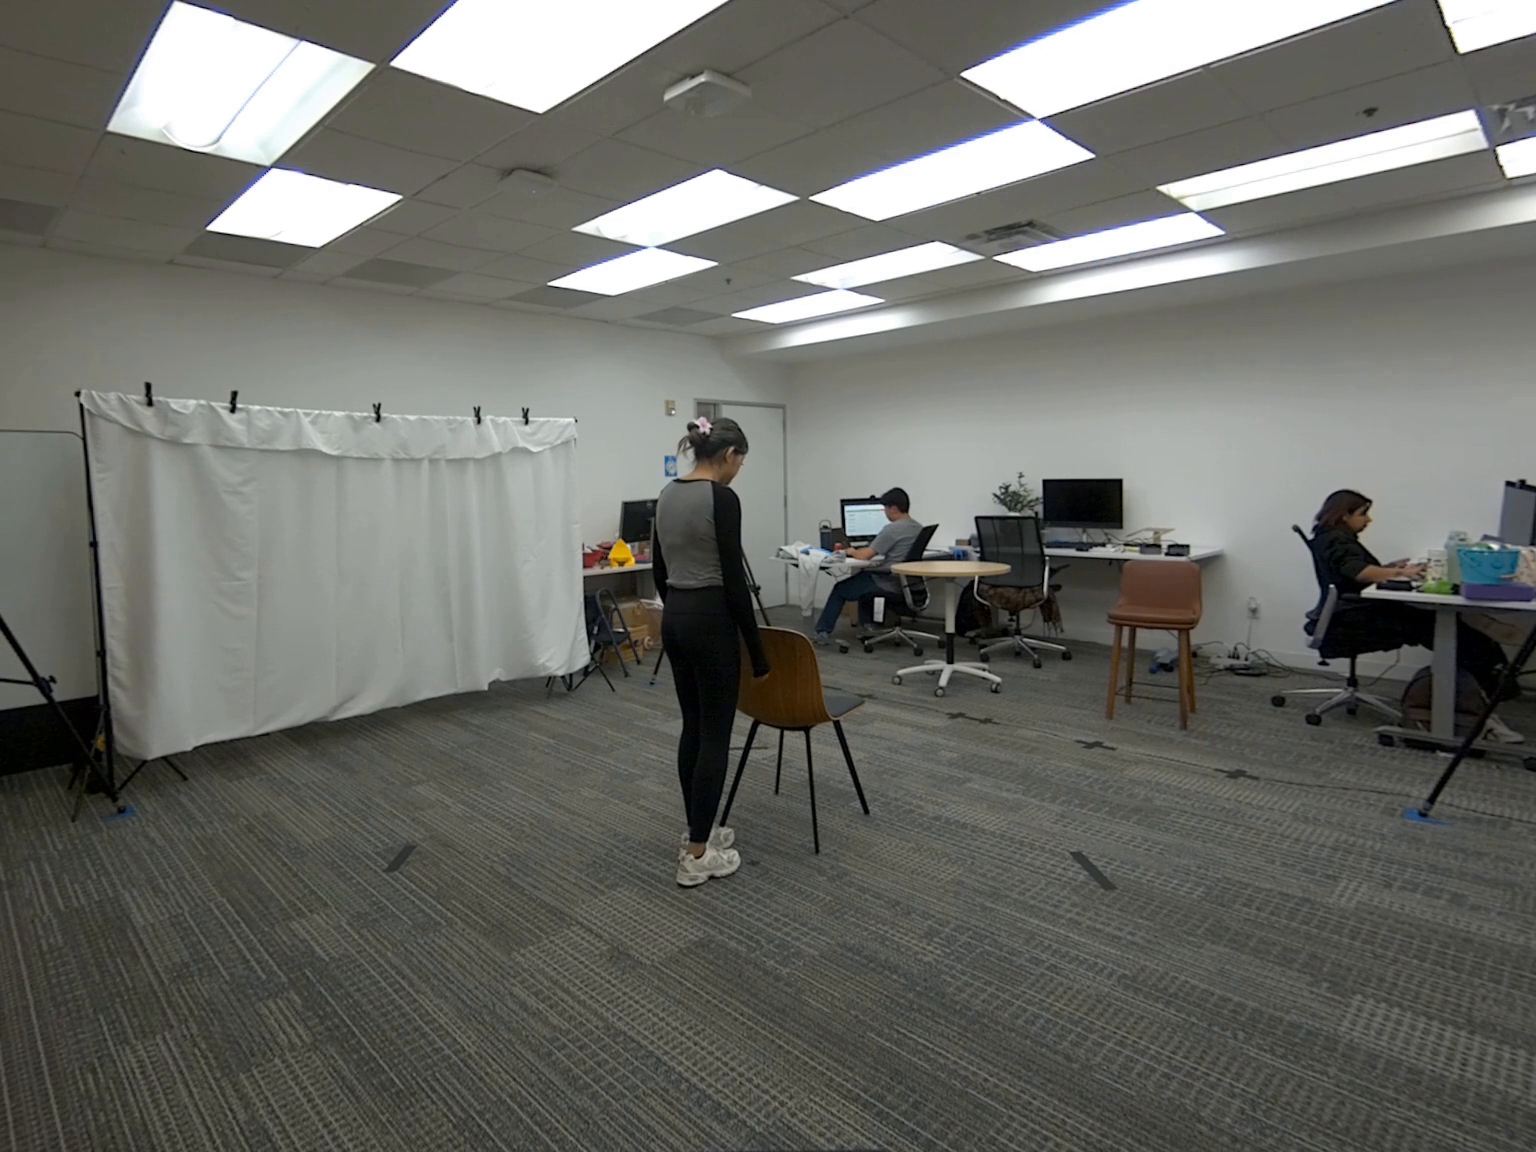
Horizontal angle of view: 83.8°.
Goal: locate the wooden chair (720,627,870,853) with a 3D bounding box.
[{"bbox_3d":[0.109,0.572,3.457,0.491,0.871,0.513,2,9,33],"label":"wooden chair"}]
